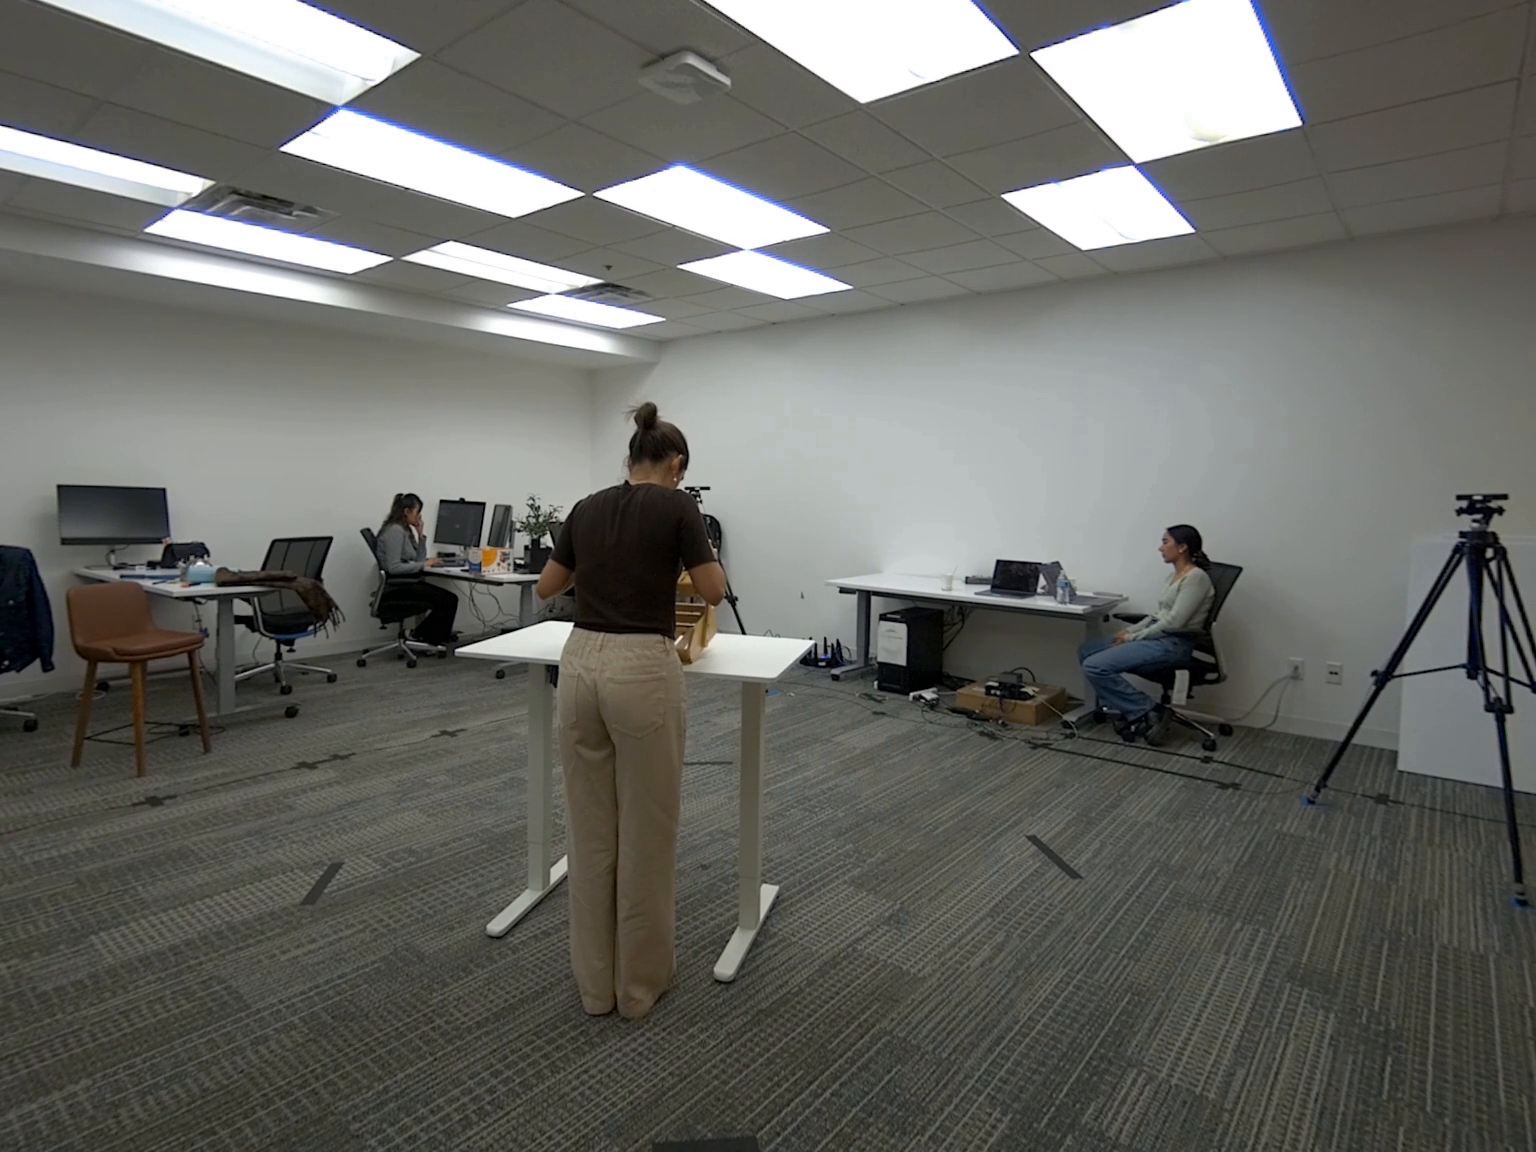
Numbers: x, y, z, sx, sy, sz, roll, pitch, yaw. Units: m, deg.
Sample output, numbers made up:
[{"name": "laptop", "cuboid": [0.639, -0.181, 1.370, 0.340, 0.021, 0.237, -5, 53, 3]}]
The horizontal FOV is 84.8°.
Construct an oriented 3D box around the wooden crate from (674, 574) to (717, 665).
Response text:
[{"name": "wooden crate", "cuboid": [-0.345, 0.079, 2.581, 0.331, 0.269, 0.301, 3, 17, 17]}]
